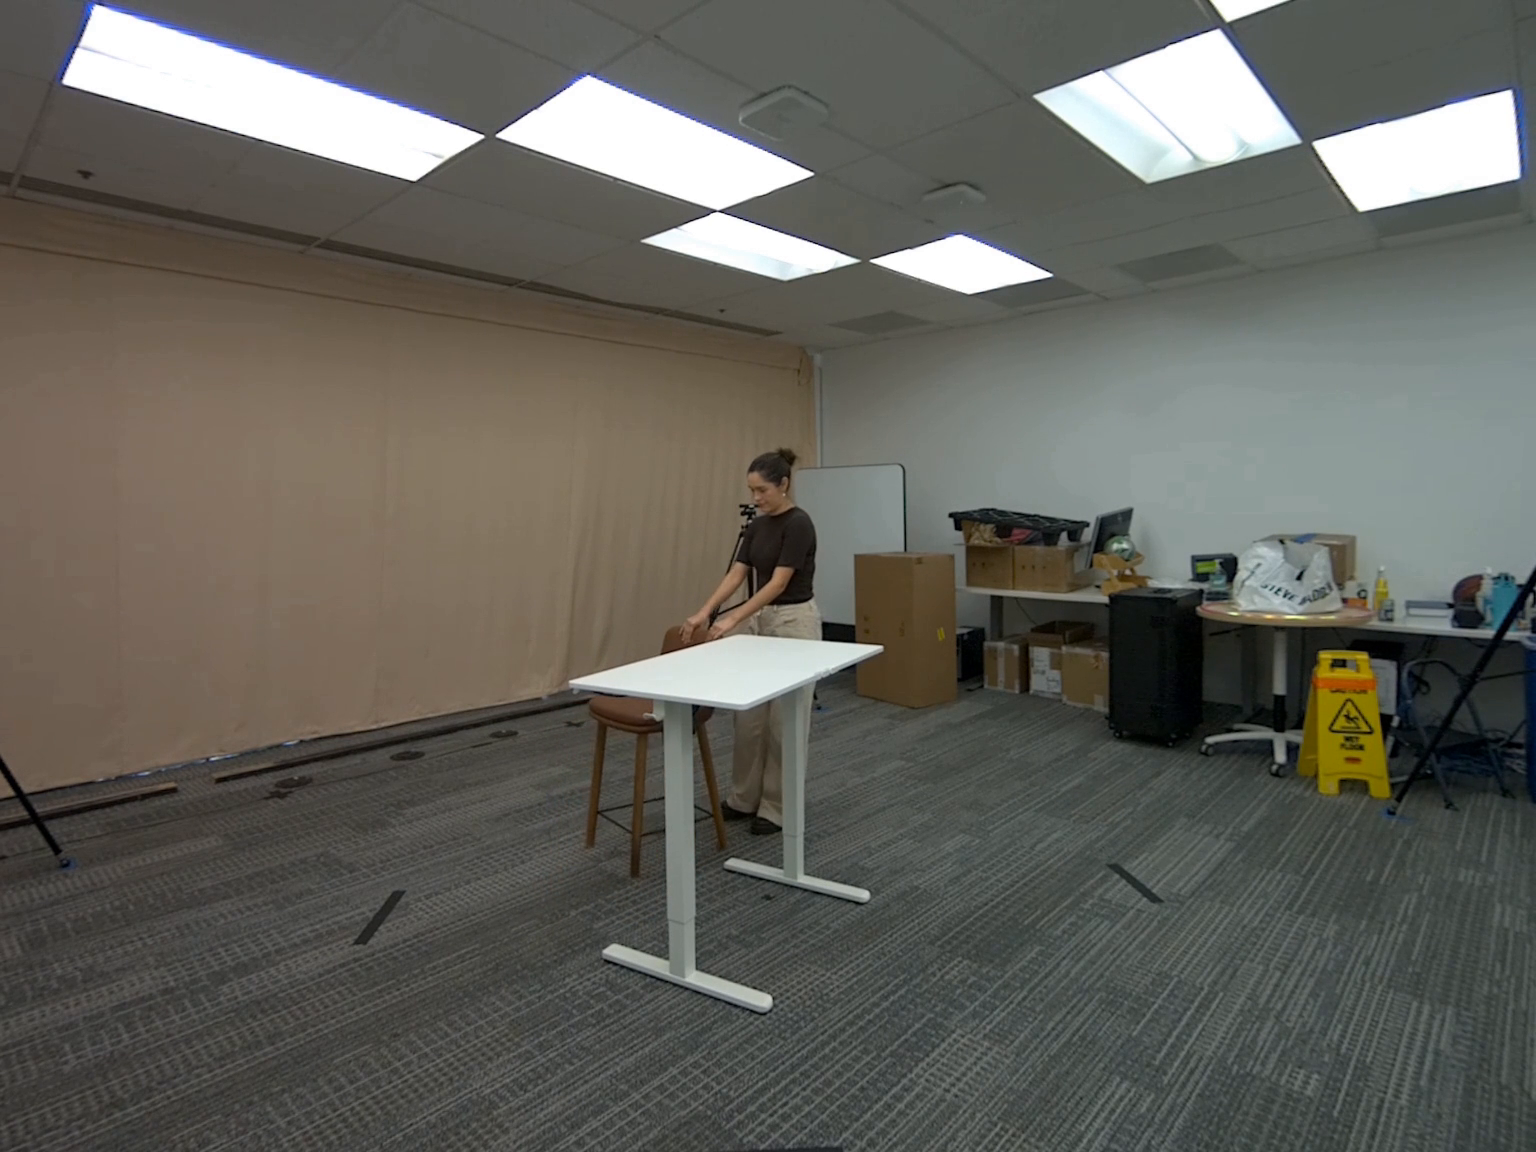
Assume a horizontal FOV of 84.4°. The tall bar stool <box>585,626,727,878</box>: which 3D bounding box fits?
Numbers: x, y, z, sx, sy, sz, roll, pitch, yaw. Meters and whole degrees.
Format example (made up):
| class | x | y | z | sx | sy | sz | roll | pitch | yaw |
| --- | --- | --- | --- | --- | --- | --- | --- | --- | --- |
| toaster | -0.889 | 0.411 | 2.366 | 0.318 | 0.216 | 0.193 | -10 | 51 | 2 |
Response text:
| class | x | y | z | sx | sy | sz | roll | pitch | yaw |
| --- | --- | --- | --- | --- | --- | --- | --- | --- | --- |
| tall bar stool | -0.454 | 0.673 | 3.425 | 0.453 | 0.889 | 0.471 | 0 | 2 | -36 |
